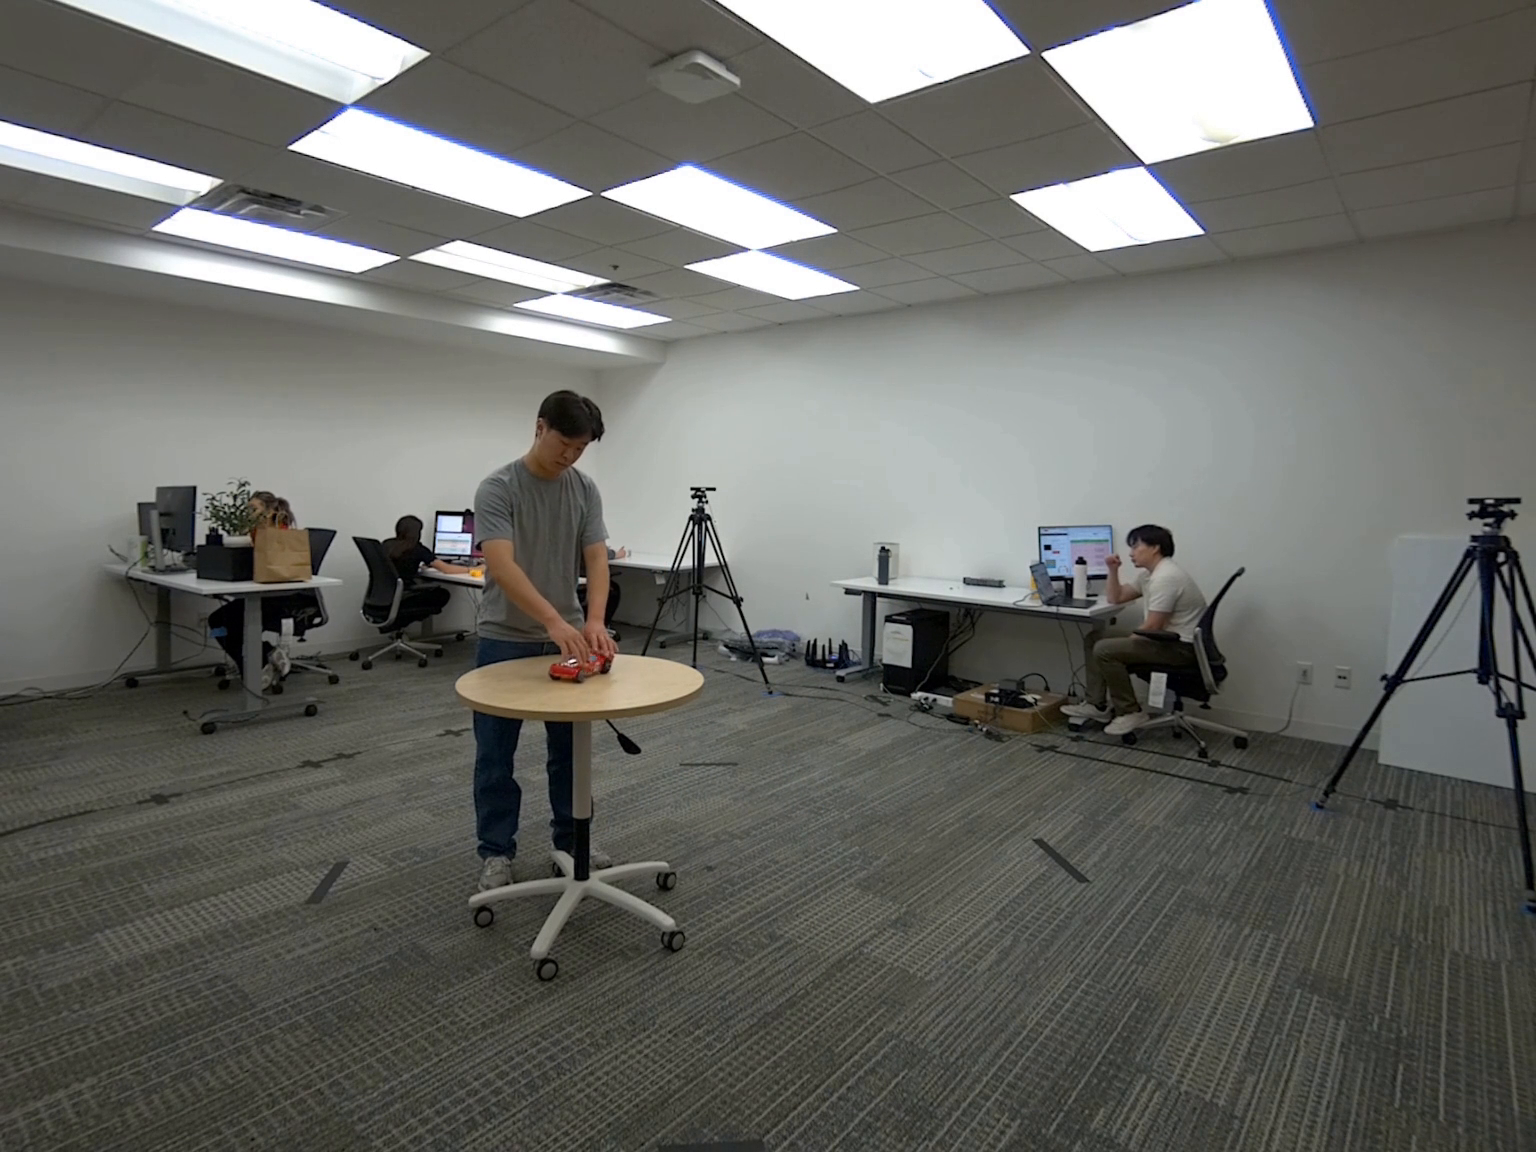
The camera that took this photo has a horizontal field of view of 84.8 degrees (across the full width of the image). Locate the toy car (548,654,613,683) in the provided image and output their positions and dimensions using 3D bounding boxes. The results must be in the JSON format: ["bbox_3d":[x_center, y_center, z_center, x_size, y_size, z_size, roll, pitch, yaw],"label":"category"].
[{"bbox_3d":[-0.602,0.285,2.719,0.133,0.082,0.252,2,17,24],"label":"toy car"}]
